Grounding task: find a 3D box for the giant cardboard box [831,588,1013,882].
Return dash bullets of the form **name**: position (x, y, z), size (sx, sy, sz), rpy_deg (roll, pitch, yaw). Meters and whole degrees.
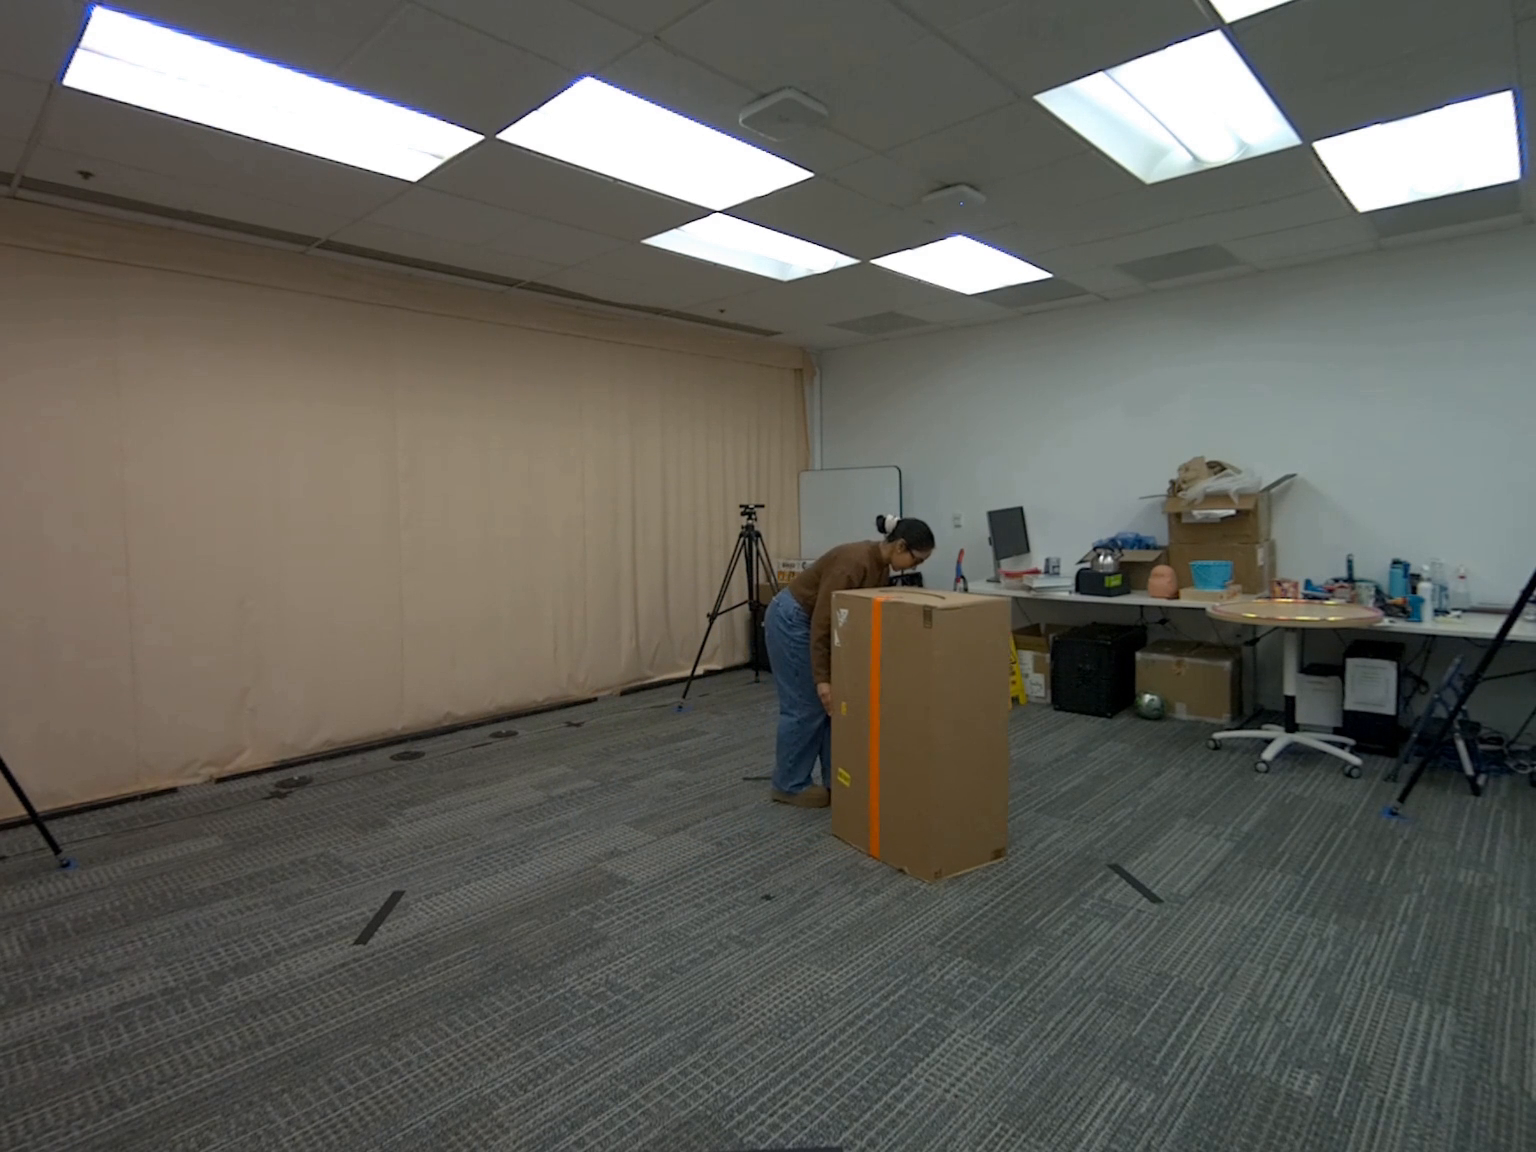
- **giant cardboard box**: position (0.600, 0.589, 3.382), size (0.414, 1.023, 0.595), rpy_deg (-2, 4, -34)
